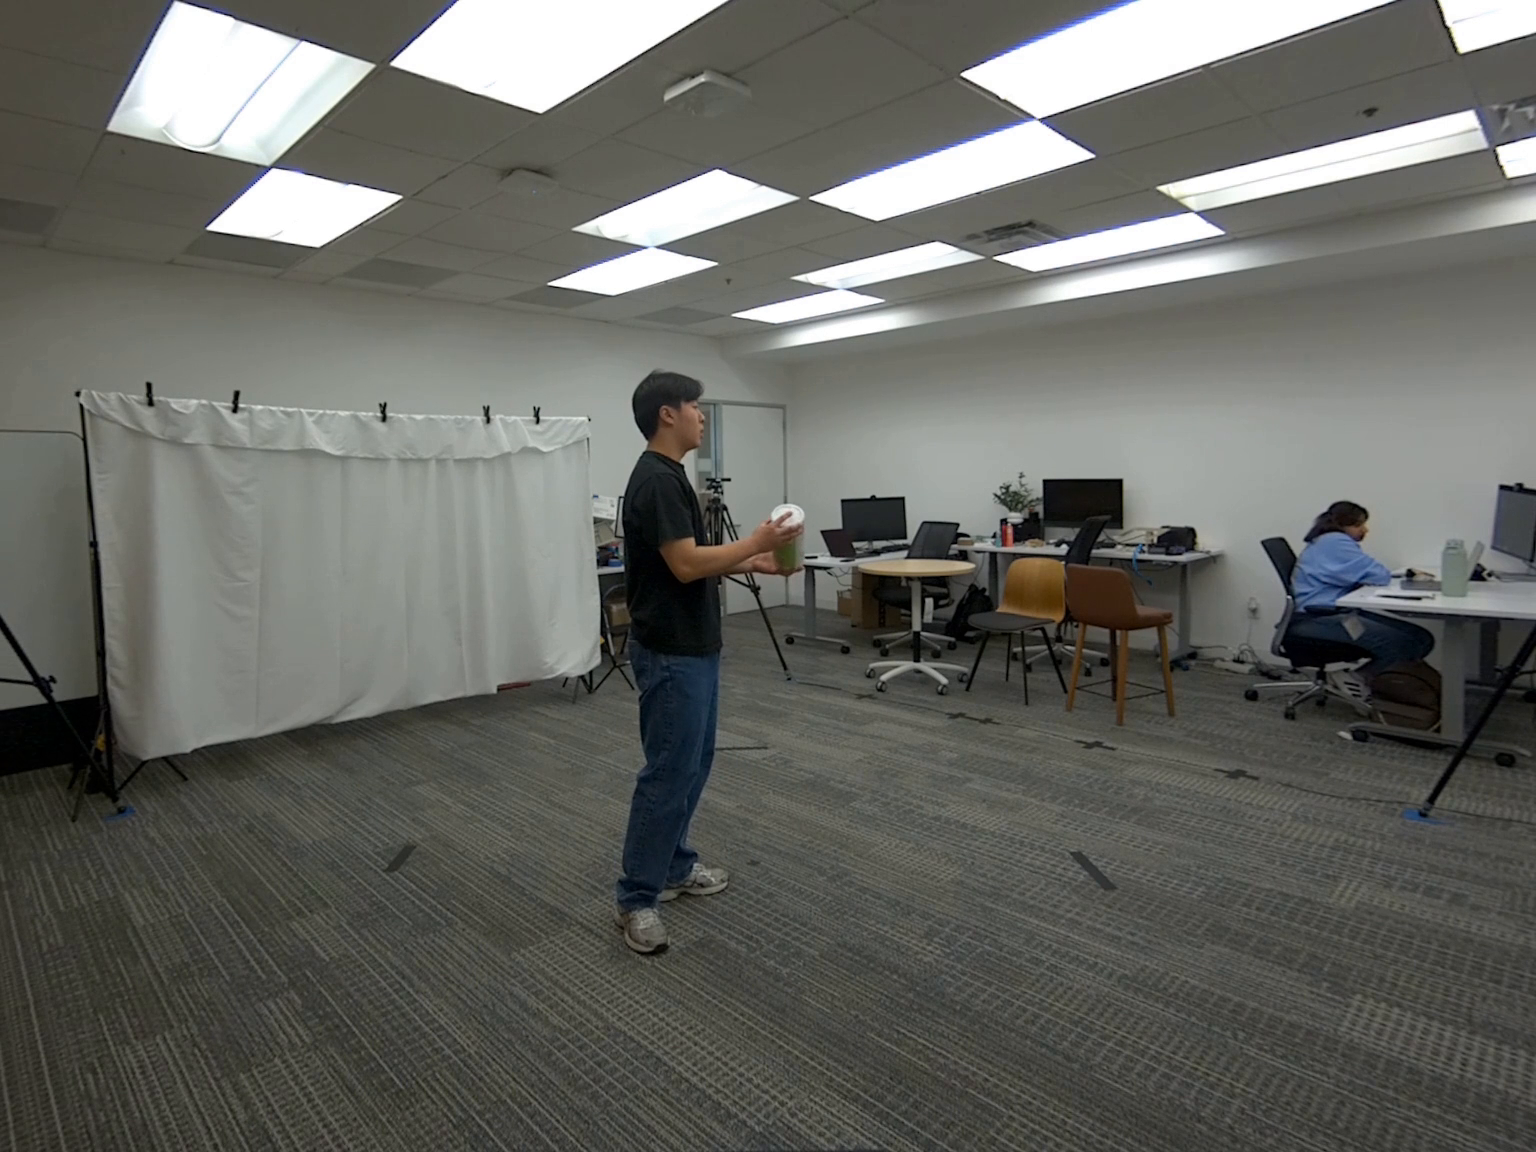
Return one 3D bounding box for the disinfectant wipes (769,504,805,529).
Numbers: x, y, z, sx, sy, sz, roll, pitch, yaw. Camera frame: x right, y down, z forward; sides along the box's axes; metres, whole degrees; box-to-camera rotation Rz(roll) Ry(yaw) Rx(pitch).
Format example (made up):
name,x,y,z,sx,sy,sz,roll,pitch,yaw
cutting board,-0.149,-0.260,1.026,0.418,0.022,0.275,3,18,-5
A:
name,x,y,z,sx,sy,sz,roll,pitch,yaw
disinfectant wipes,0.077,-0.129,2.791,0.118,0.211,0.121,-2,45,1
